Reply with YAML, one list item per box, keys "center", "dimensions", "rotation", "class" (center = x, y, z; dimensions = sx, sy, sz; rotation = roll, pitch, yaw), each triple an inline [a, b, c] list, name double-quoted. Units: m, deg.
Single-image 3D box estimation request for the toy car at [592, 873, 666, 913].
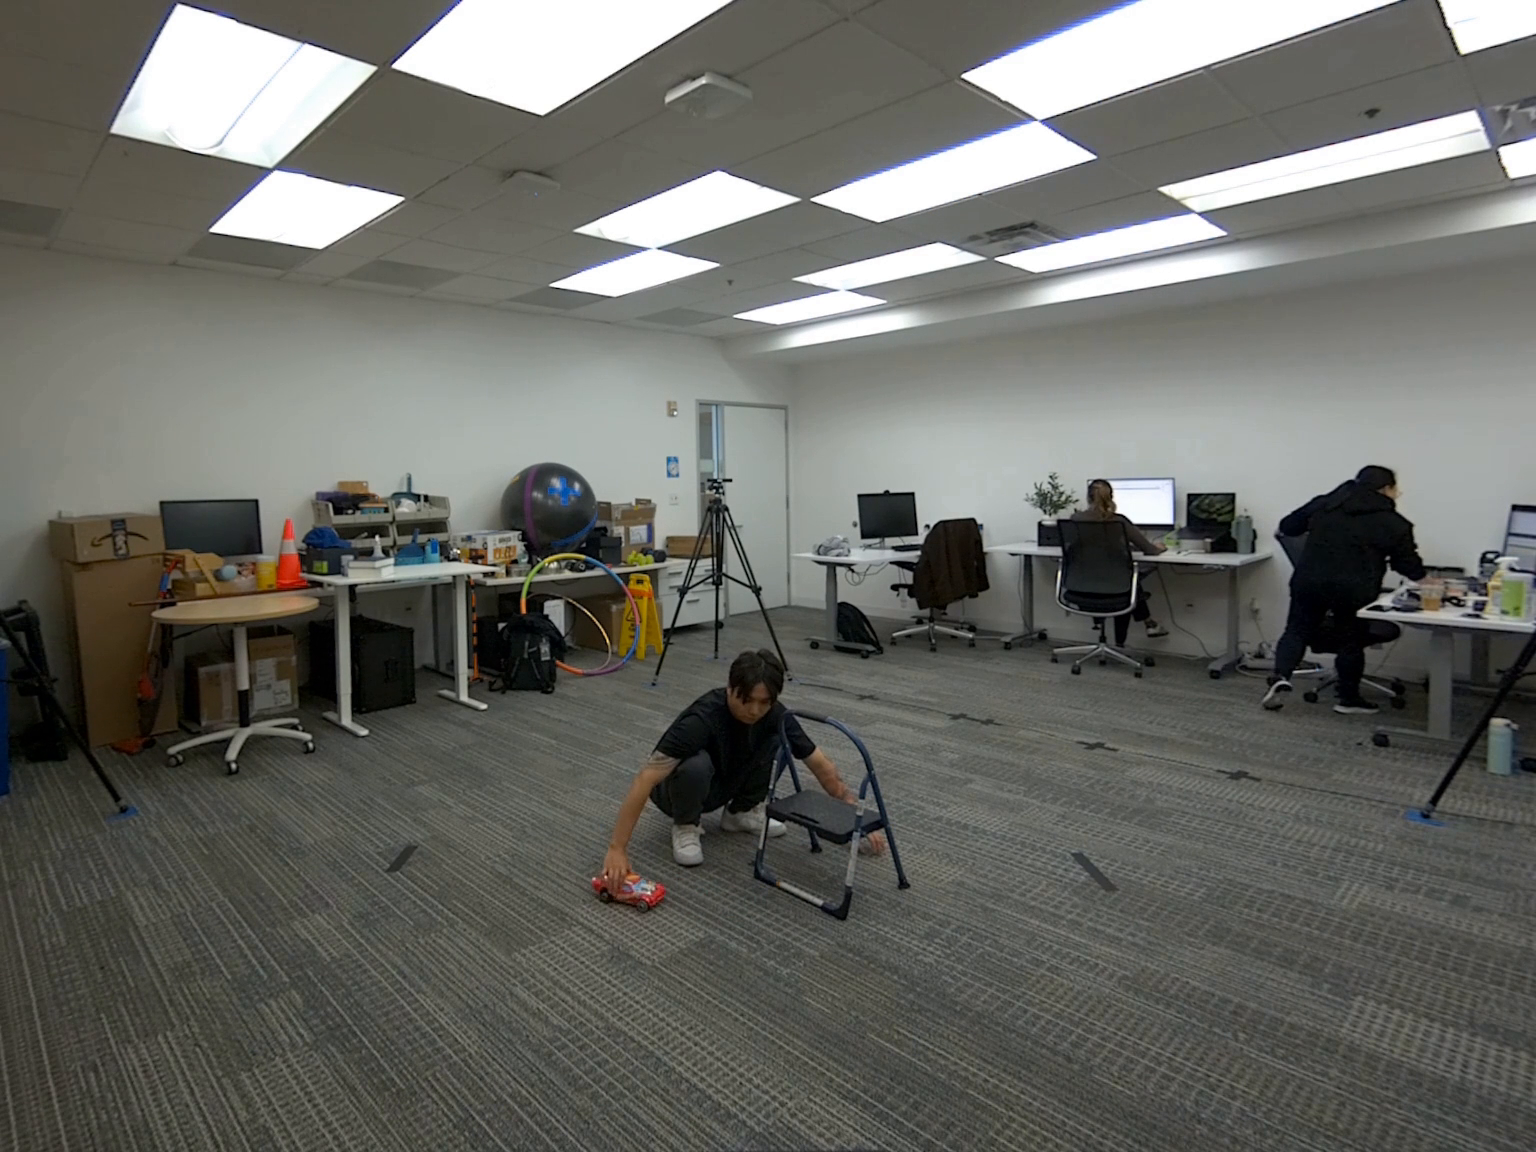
- center: [-0.475, 1.056, 2.862]
  dimensions: [0.262, 0.082, 0.128]
  rotation: [13, 13, 26]
  class: "toy car"
